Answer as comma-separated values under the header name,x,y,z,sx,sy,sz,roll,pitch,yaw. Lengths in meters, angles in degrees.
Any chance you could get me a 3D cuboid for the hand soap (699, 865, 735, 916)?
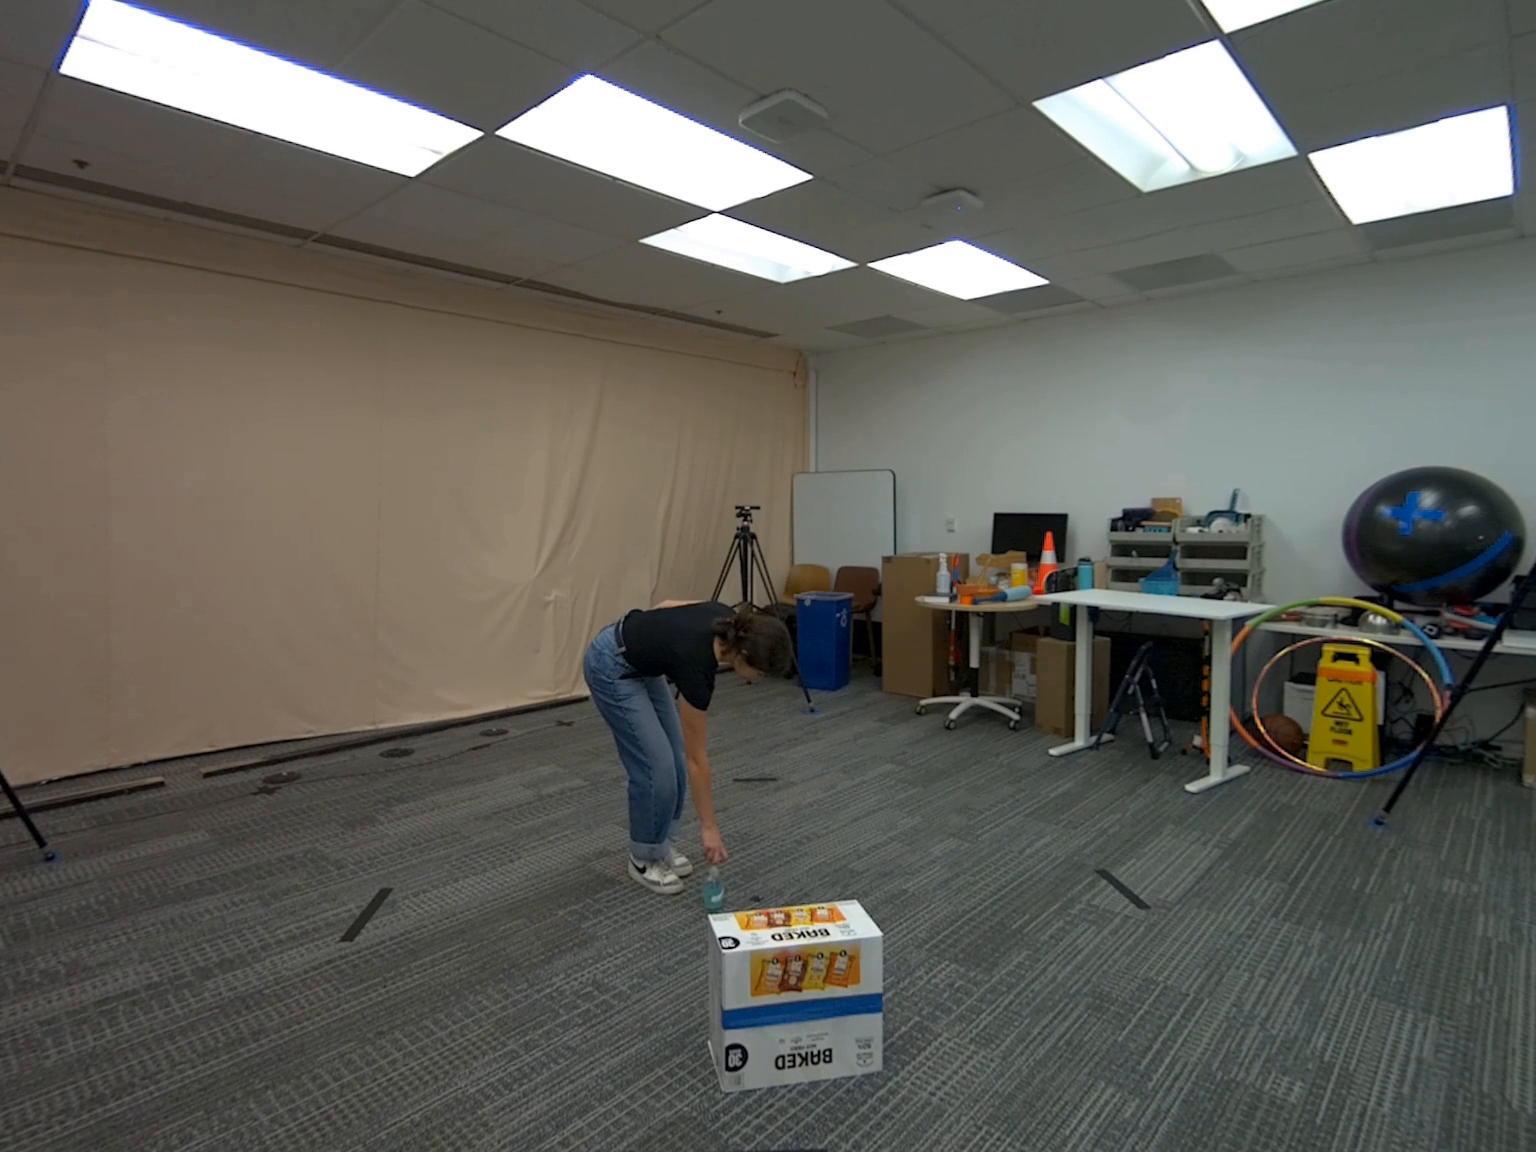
name,x,y,z,sx,sy,sz,roll,pitch,yaw
hand soap,-0.188,1.078,2.919,0.044,0.168,0.082,-2,1,30
